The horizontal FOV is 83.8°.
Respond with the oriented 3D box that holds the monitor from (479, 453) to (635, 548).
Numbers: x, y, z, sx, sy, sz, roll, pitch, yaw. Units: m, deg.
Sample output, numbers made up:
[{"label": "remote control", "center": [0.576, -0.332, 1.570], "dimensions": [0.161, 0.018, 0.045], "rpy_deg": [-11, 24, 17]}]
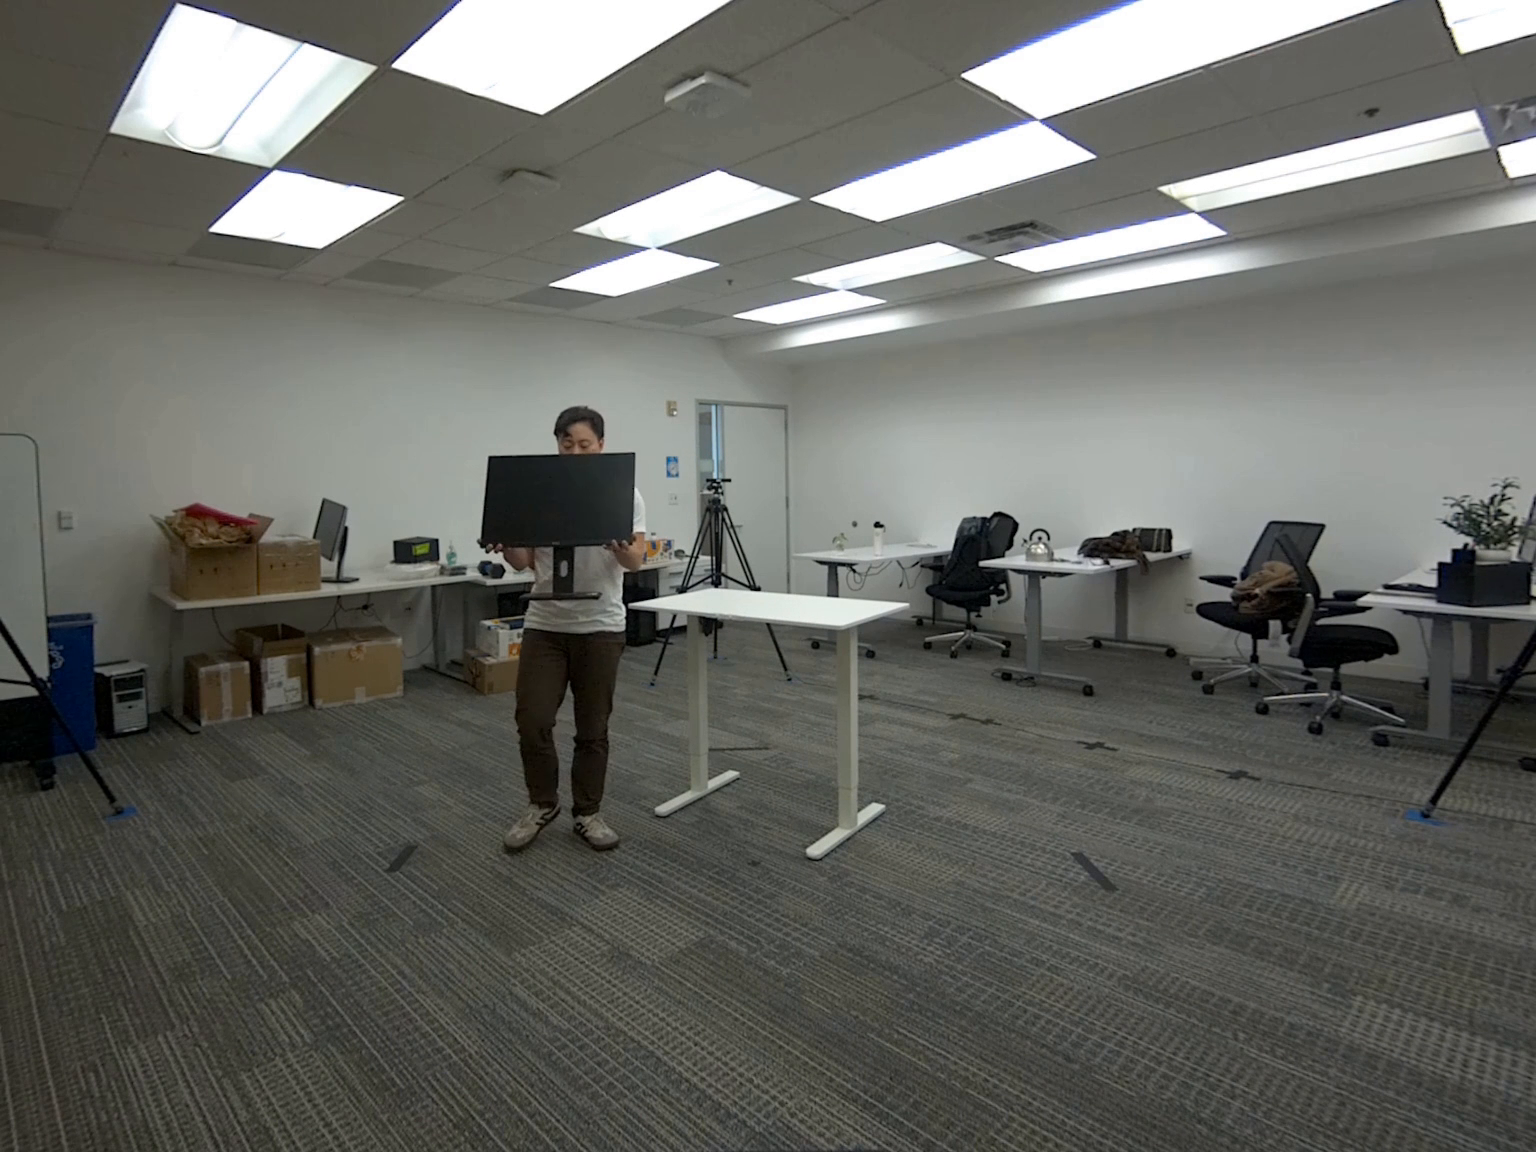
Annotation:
[{"label": "monitor", "center": [-0.745, -0.177, 3.048], "dimensions": [0.539, 0.525, 0.186], "rpy_deg": [-2, -5, 0]}]
